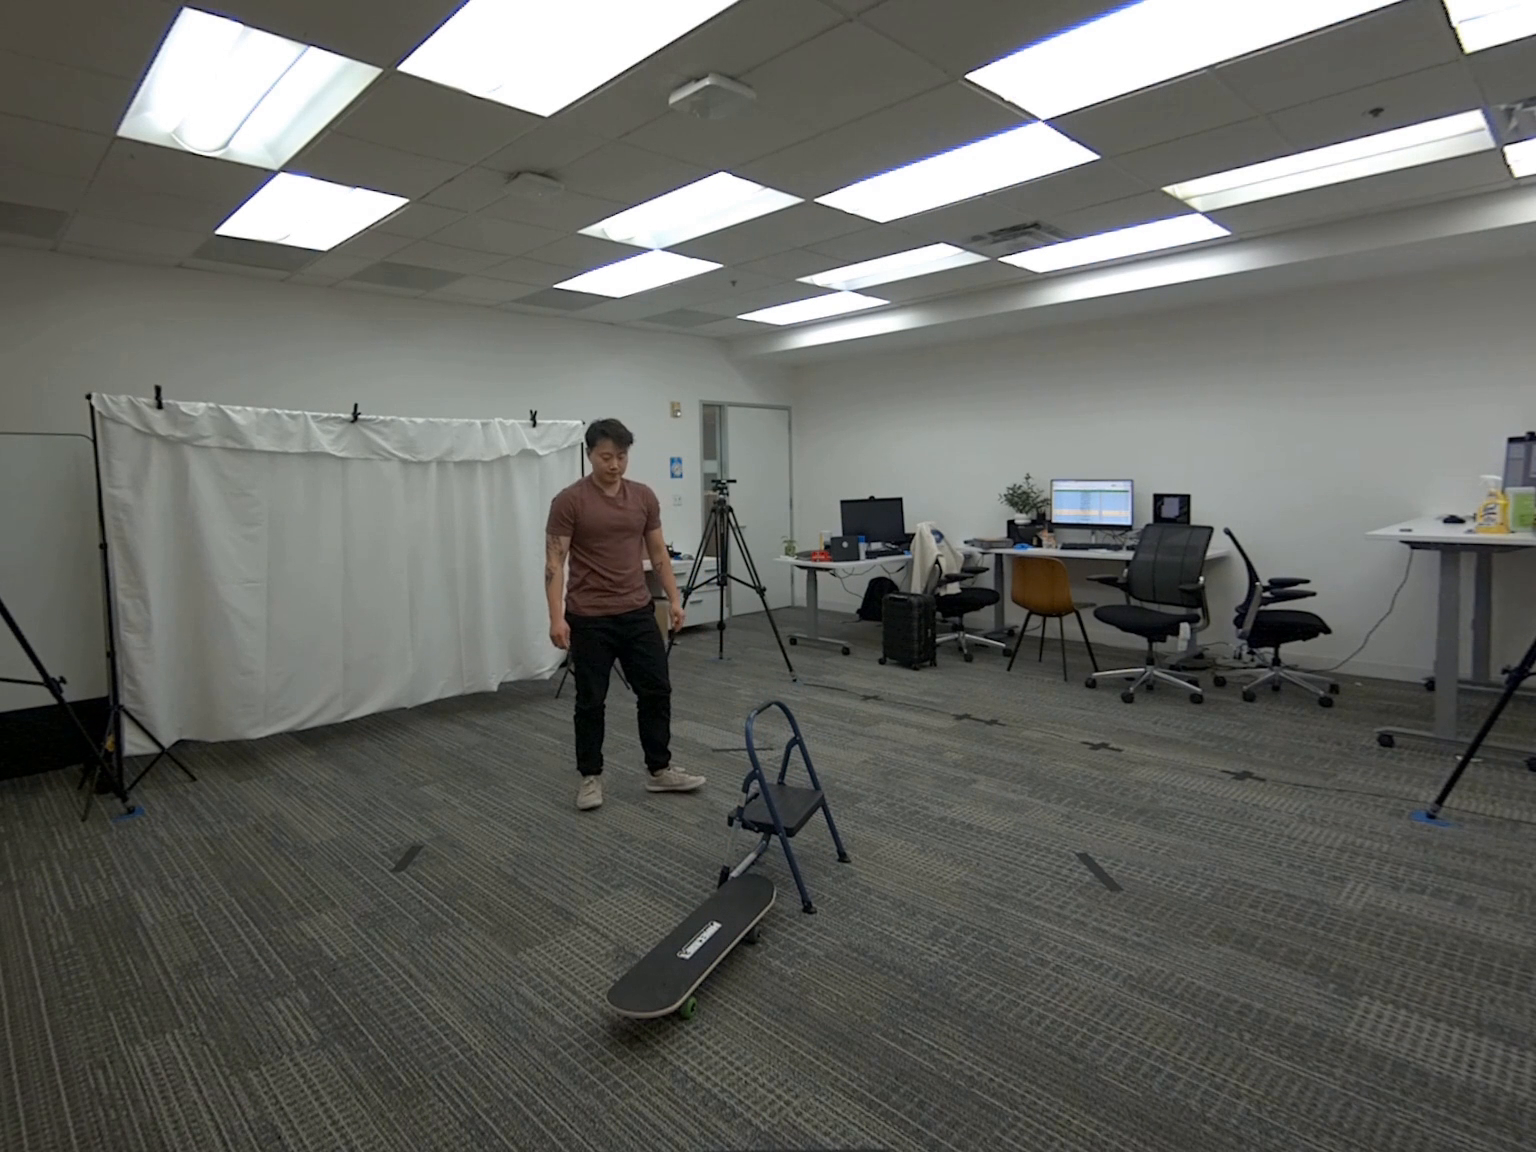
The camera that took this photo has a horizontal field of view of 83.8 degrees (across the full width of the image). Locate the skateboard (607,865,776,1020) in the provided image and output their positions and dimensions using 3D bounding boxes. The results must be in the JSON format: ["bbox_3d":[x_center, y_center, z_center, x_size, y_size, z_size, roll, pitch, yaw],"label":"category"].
[{"bbox_3d":[-0.189,1.066,2.452,0.198,0.110,0.771,1,7,25],"label":"skateboard"}]
